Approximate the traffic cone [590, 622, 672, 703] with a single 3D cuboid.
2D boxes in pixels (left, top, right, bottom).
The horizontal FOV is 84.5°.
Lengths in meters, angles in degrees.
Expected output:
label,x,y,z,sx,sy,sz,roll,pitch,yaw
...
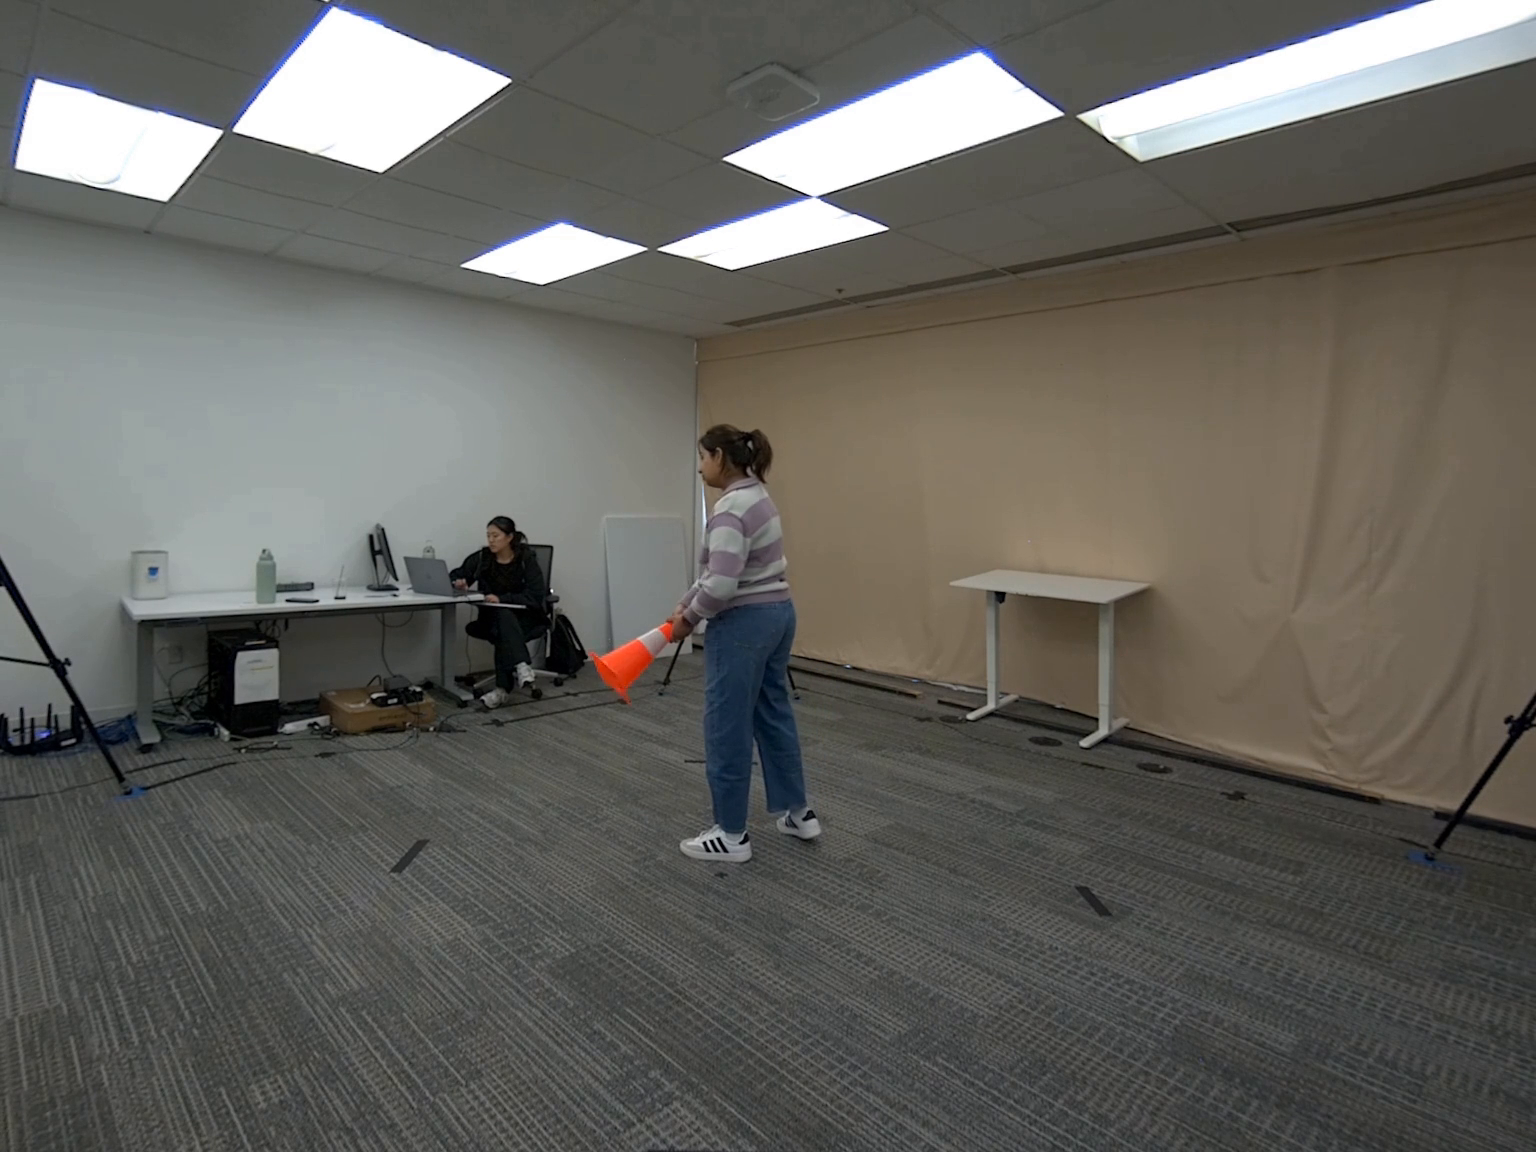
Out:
label,x,y,z,sx,sy,sz,roll,pitch,yaw
traffic cone,-0.450,0.266,3.223,0.382,0.197,0.211,-38,44,-20
